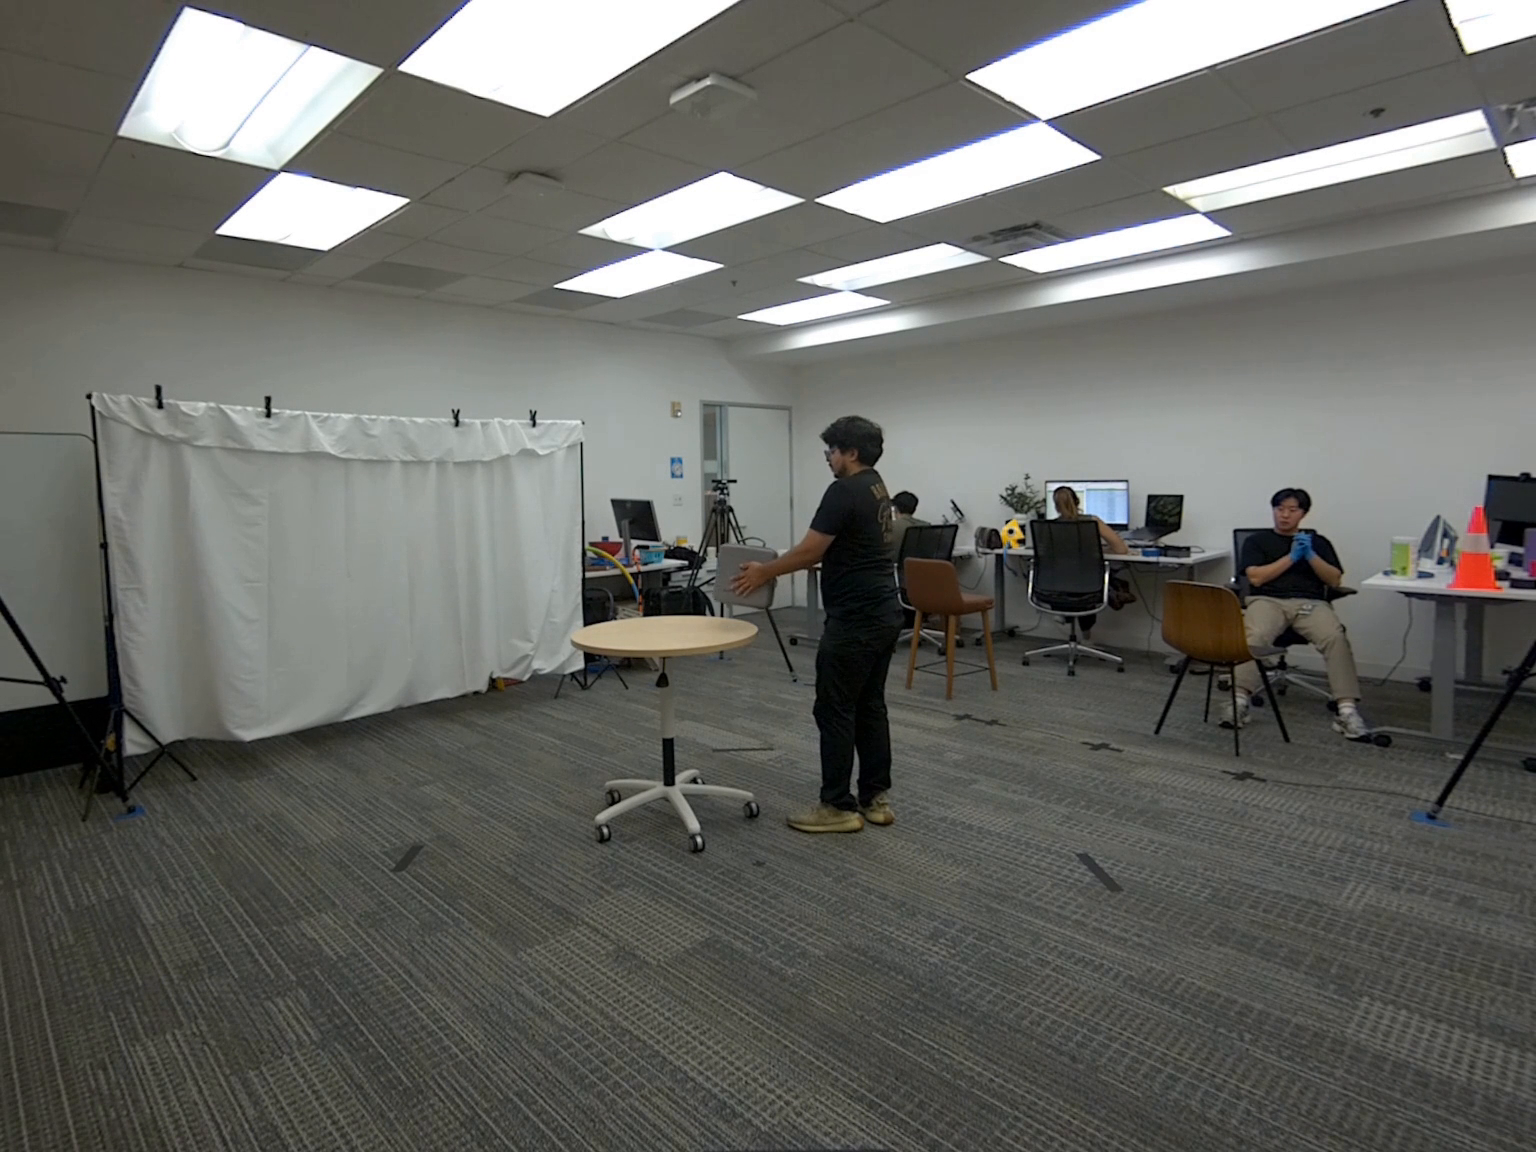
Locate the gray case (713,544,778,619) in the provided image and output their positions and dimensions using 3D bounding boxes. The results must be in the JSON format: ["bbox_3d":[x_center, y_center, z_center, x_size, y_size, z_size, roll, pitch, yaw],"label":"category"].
[{"bbox_3d":[-0.095,-0.006,3.641,0.261,0.260,0.103,8,1,14],"label":"gray case"}]
